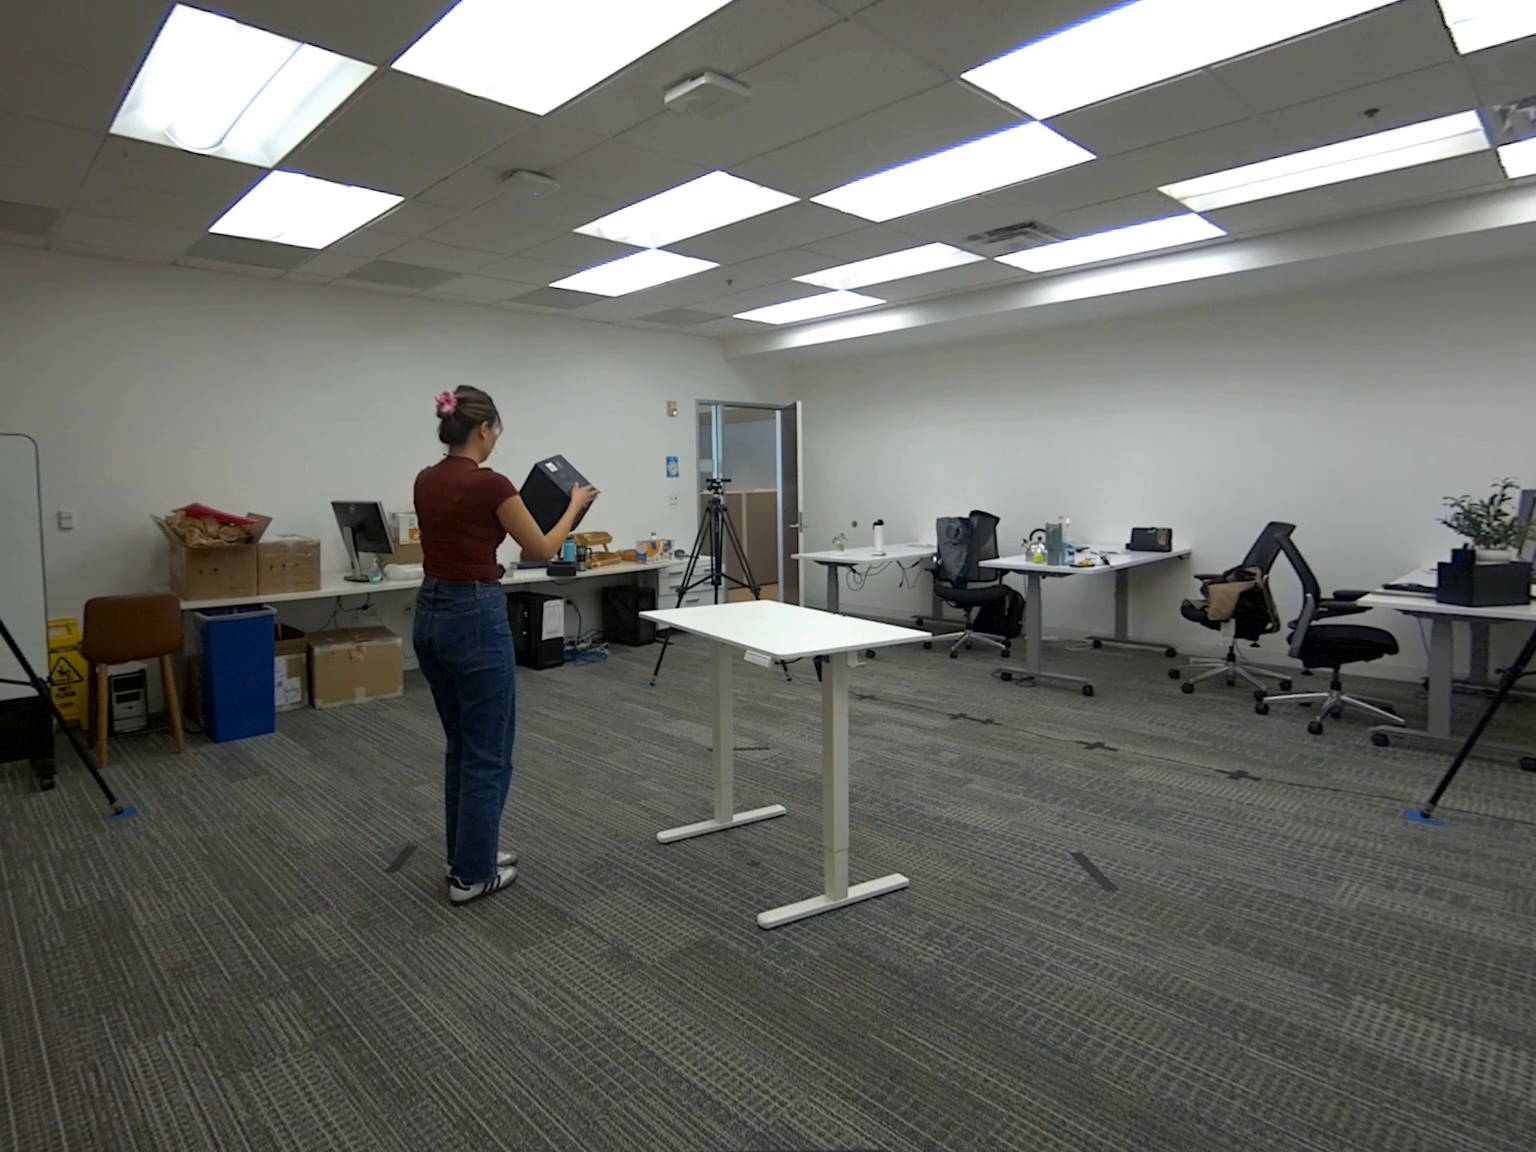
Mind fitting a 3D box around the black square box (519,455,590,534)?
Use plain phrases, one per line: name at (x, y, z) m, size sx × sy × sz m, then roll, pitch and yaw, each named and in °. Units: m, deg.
black square box at (-0.815, -0.297, 3.273) m, size 0.227 × 0.220 × 0.154 m, roll -51°, pitch -9°, yaw 32°
